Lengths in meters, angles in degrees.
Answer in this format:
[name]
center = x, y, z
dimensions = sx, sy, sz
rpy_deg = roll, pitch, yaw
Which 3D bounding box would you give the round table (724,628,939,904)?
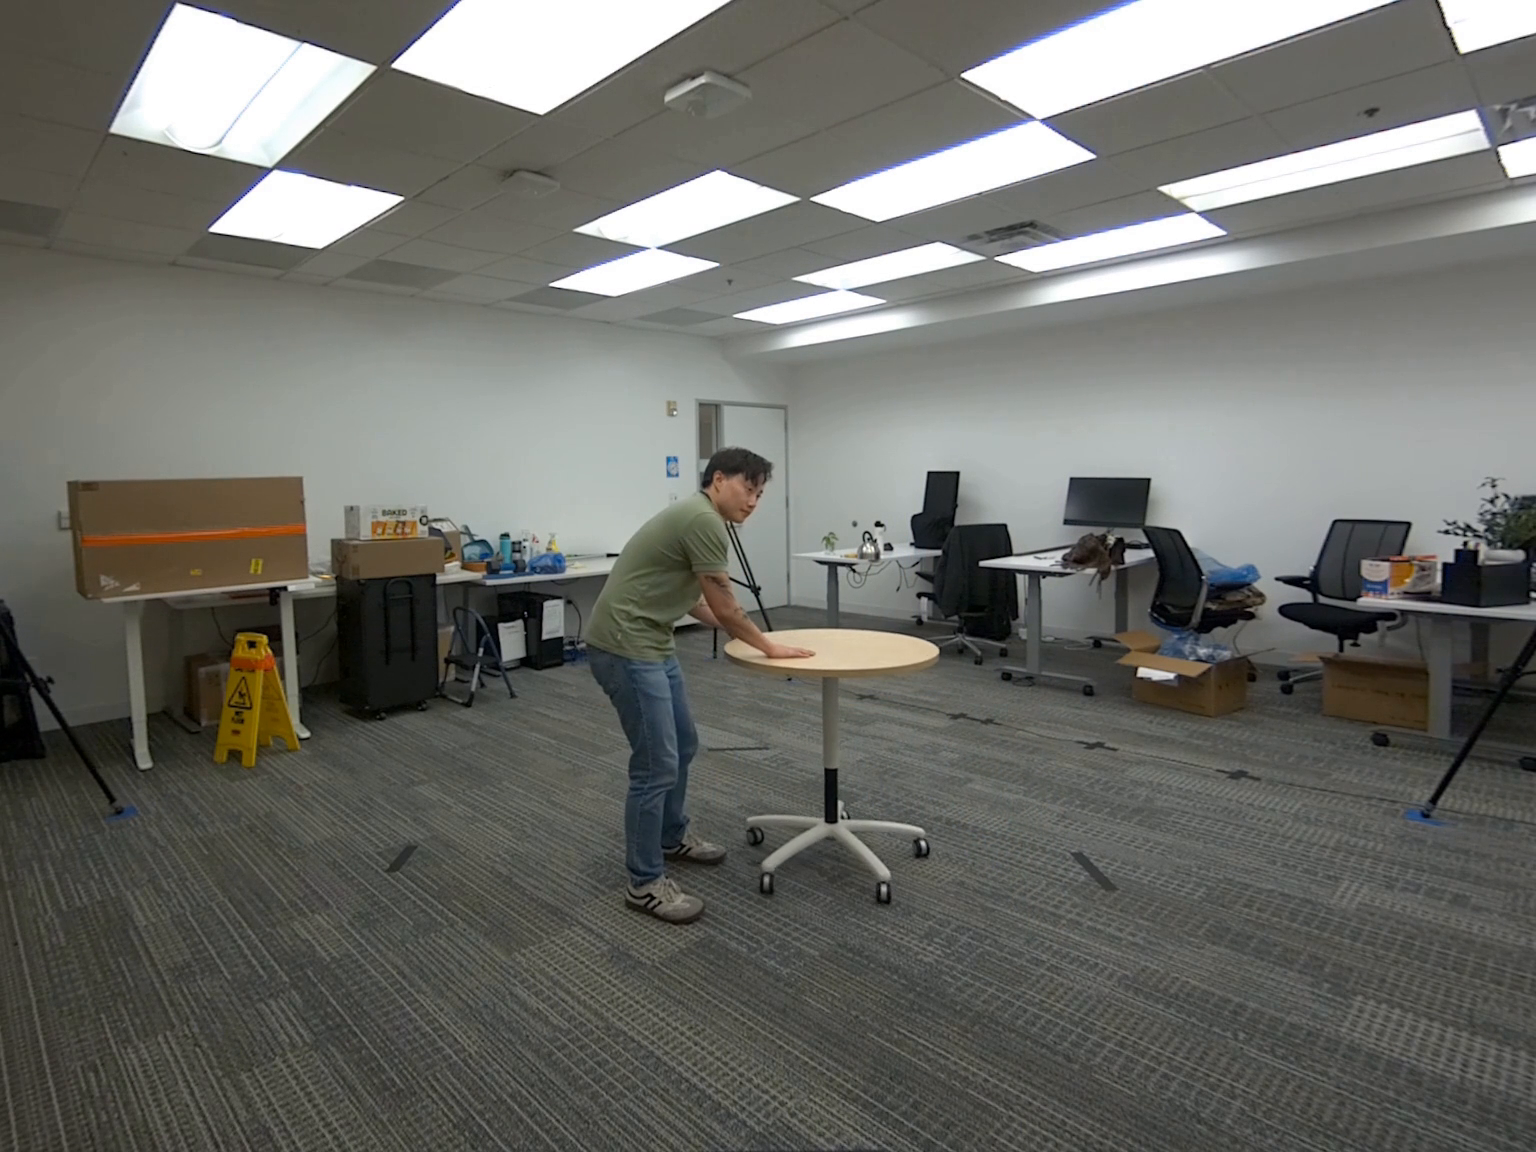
[round table]
center = 0.226, 0.649, 3.111
dimensions = 0.763, 0.791, 0.767
rpy_deg = -1, 4, -2
